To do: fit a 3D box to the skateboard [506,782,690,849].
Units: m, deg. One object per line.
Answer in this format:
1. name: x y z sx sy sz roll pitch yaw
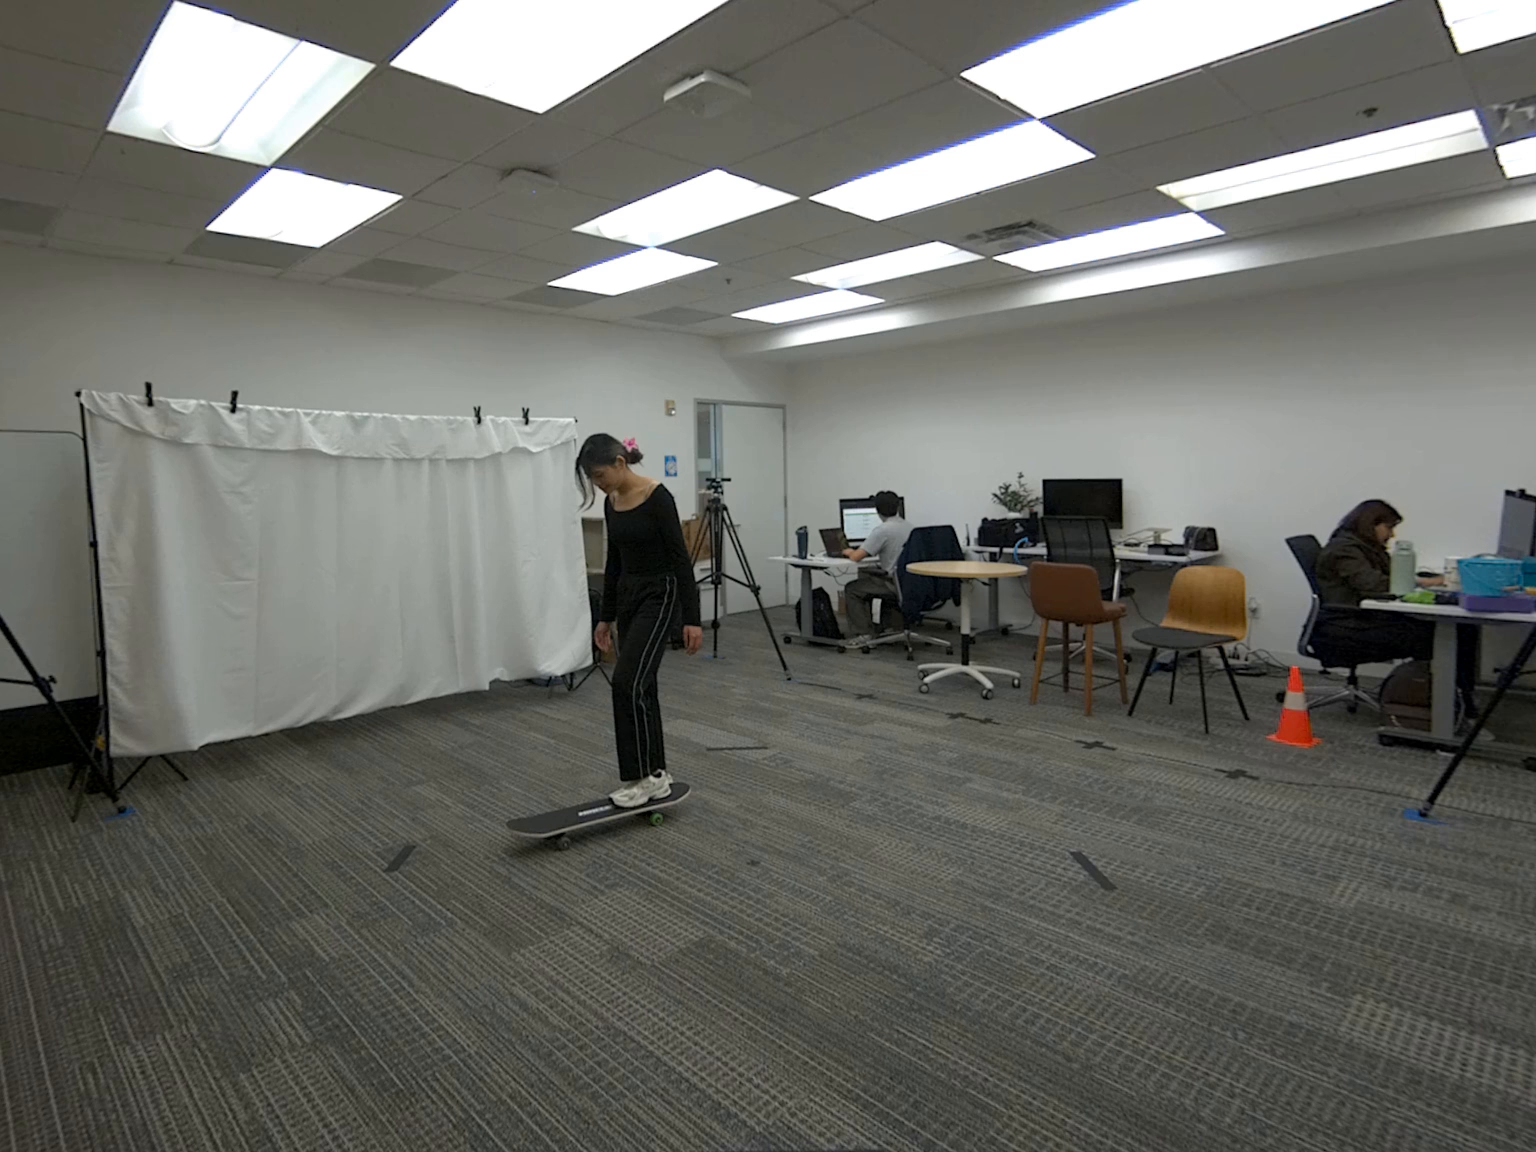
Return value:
1. skateboard: -0.662 0.964 3.419 0.766 0.110 0.199 -5 6 -34
